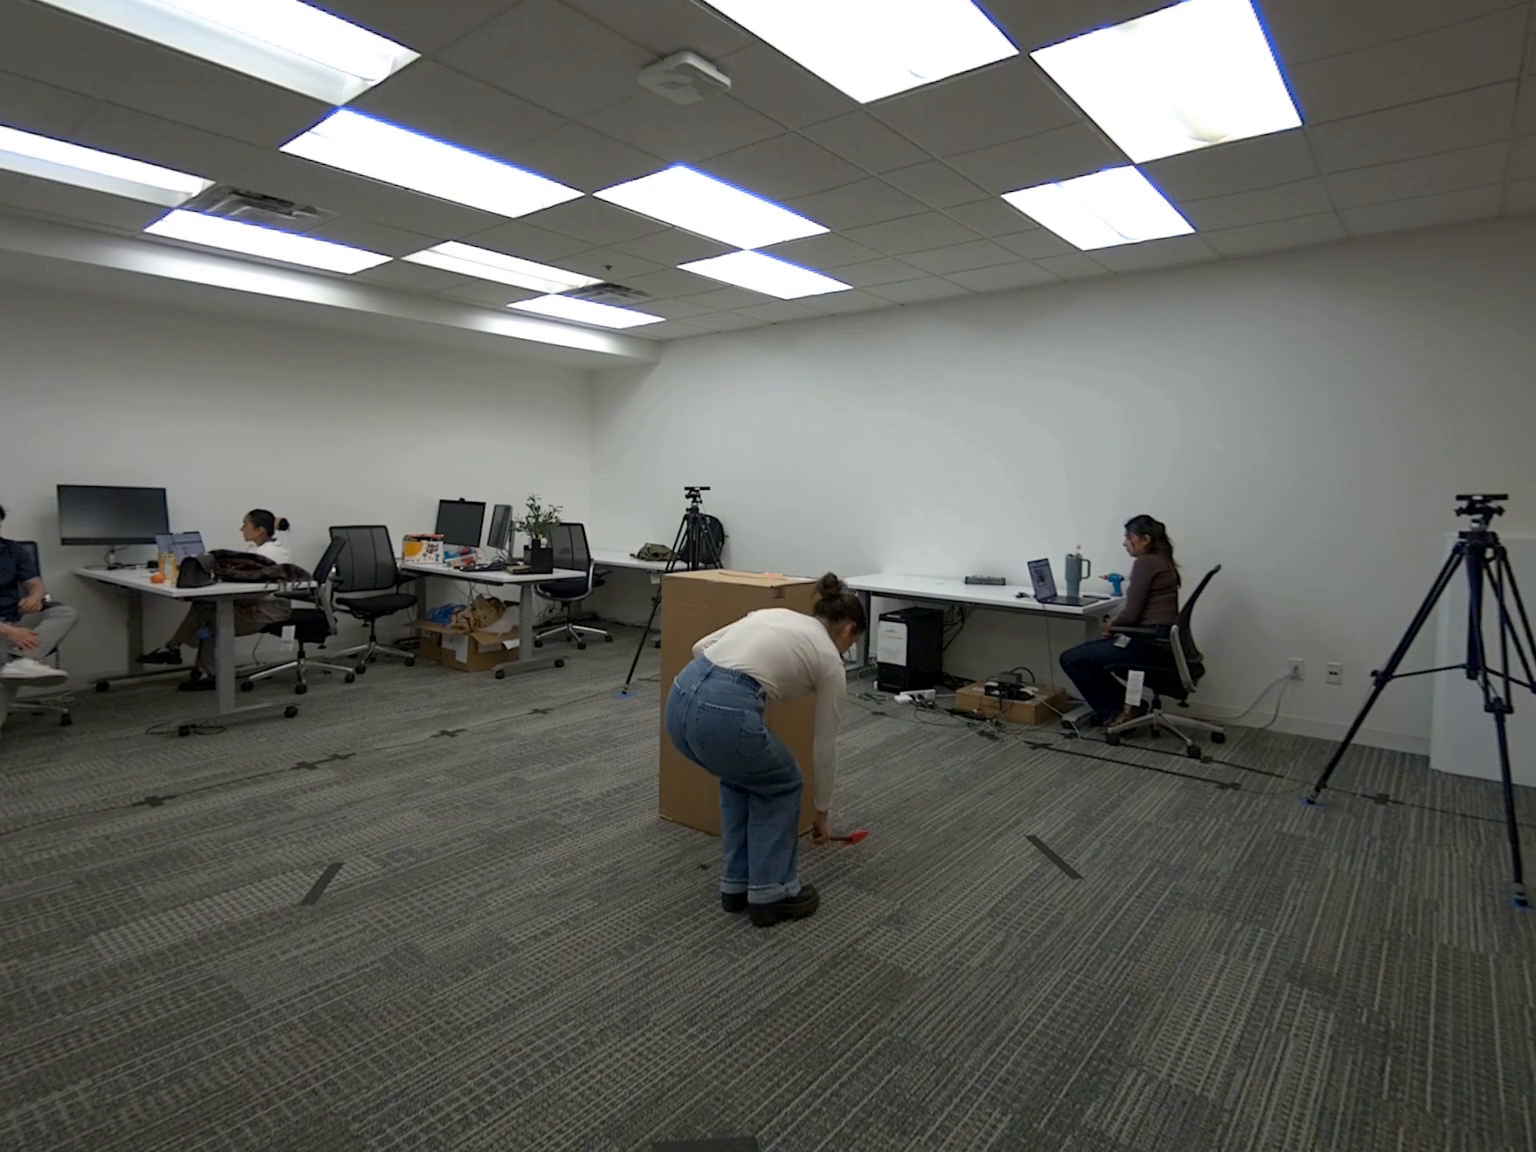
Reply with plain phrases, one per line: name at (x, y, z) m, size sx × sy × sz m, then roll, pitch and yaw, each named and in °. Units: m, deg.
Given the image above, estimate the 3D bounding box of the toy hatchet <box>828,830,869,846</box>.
toy hatchet at (0.231, 1.014, 3.067) m, size 0.265 × 0.030 × 0.131 m, roll -20°, pitch -14°, yaw -31°
